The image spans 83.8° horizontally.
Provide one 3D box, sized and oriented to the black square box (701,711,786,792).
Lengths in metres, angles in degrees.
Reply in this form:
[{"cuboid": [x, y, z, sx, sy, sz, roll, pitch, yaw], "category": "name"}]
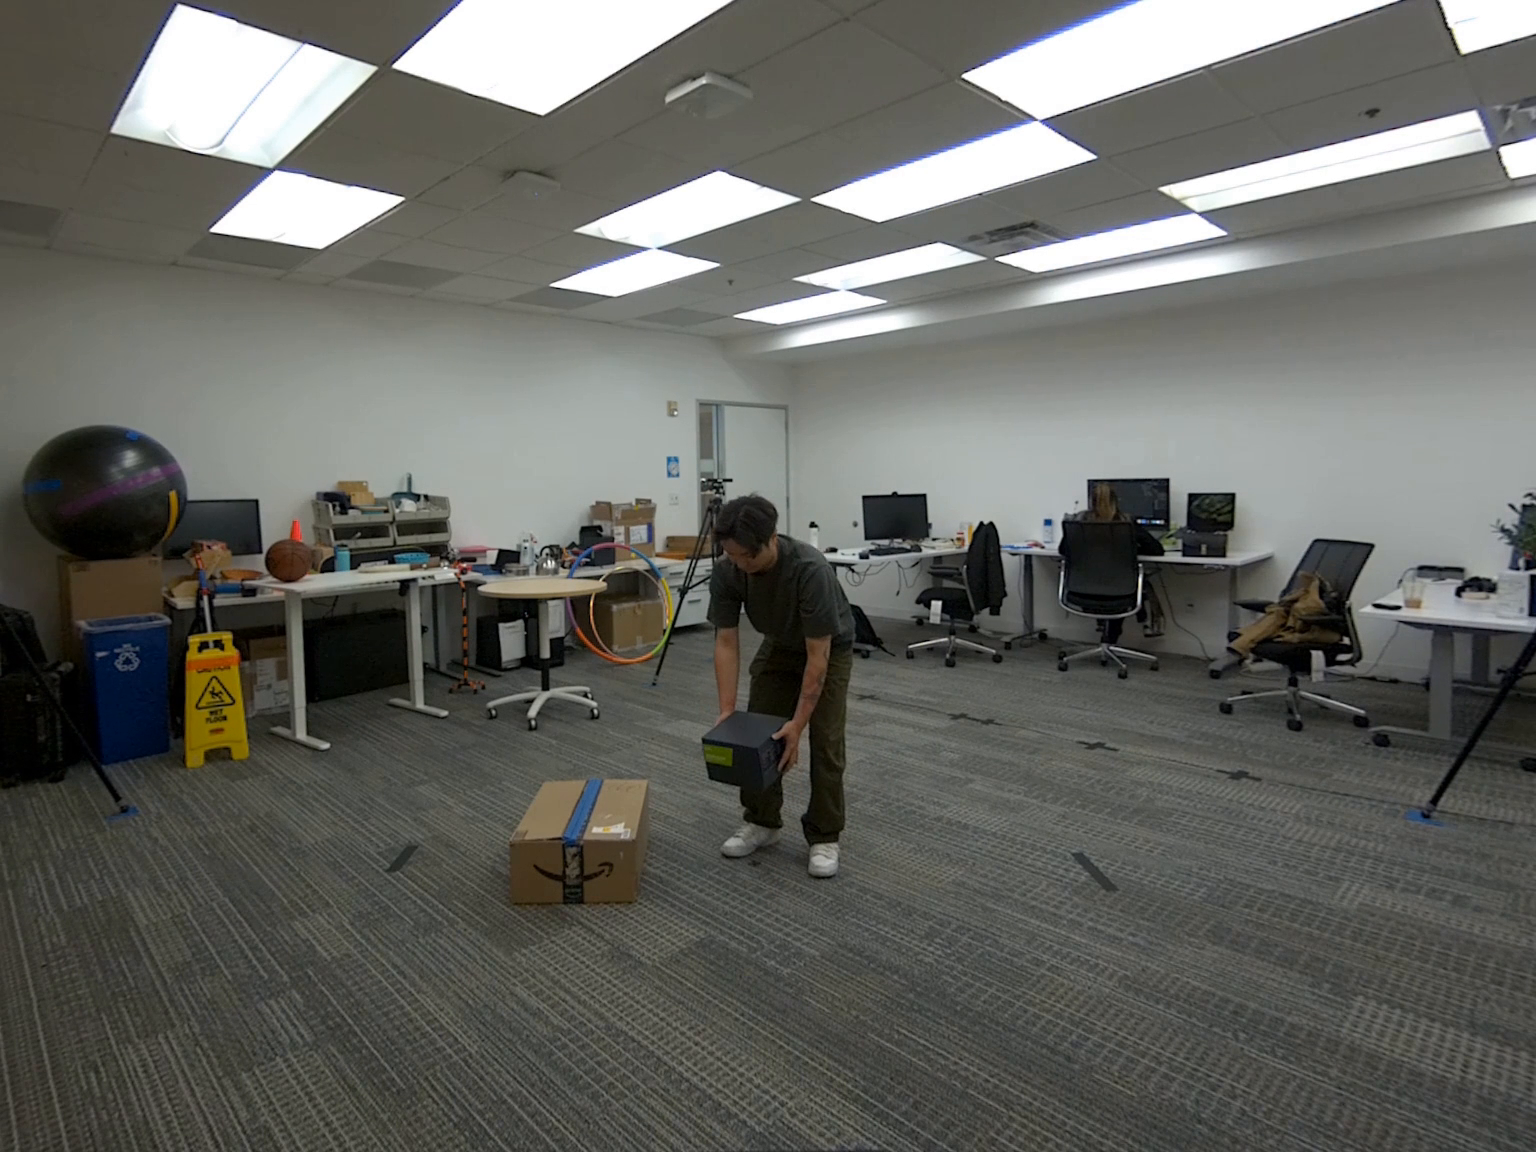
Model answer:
[{"cuboid": [-0.068, 0.586, 2.877, 0.234, 0.154, 0.214, 2, 17, 34], "category": "black square box"}]
